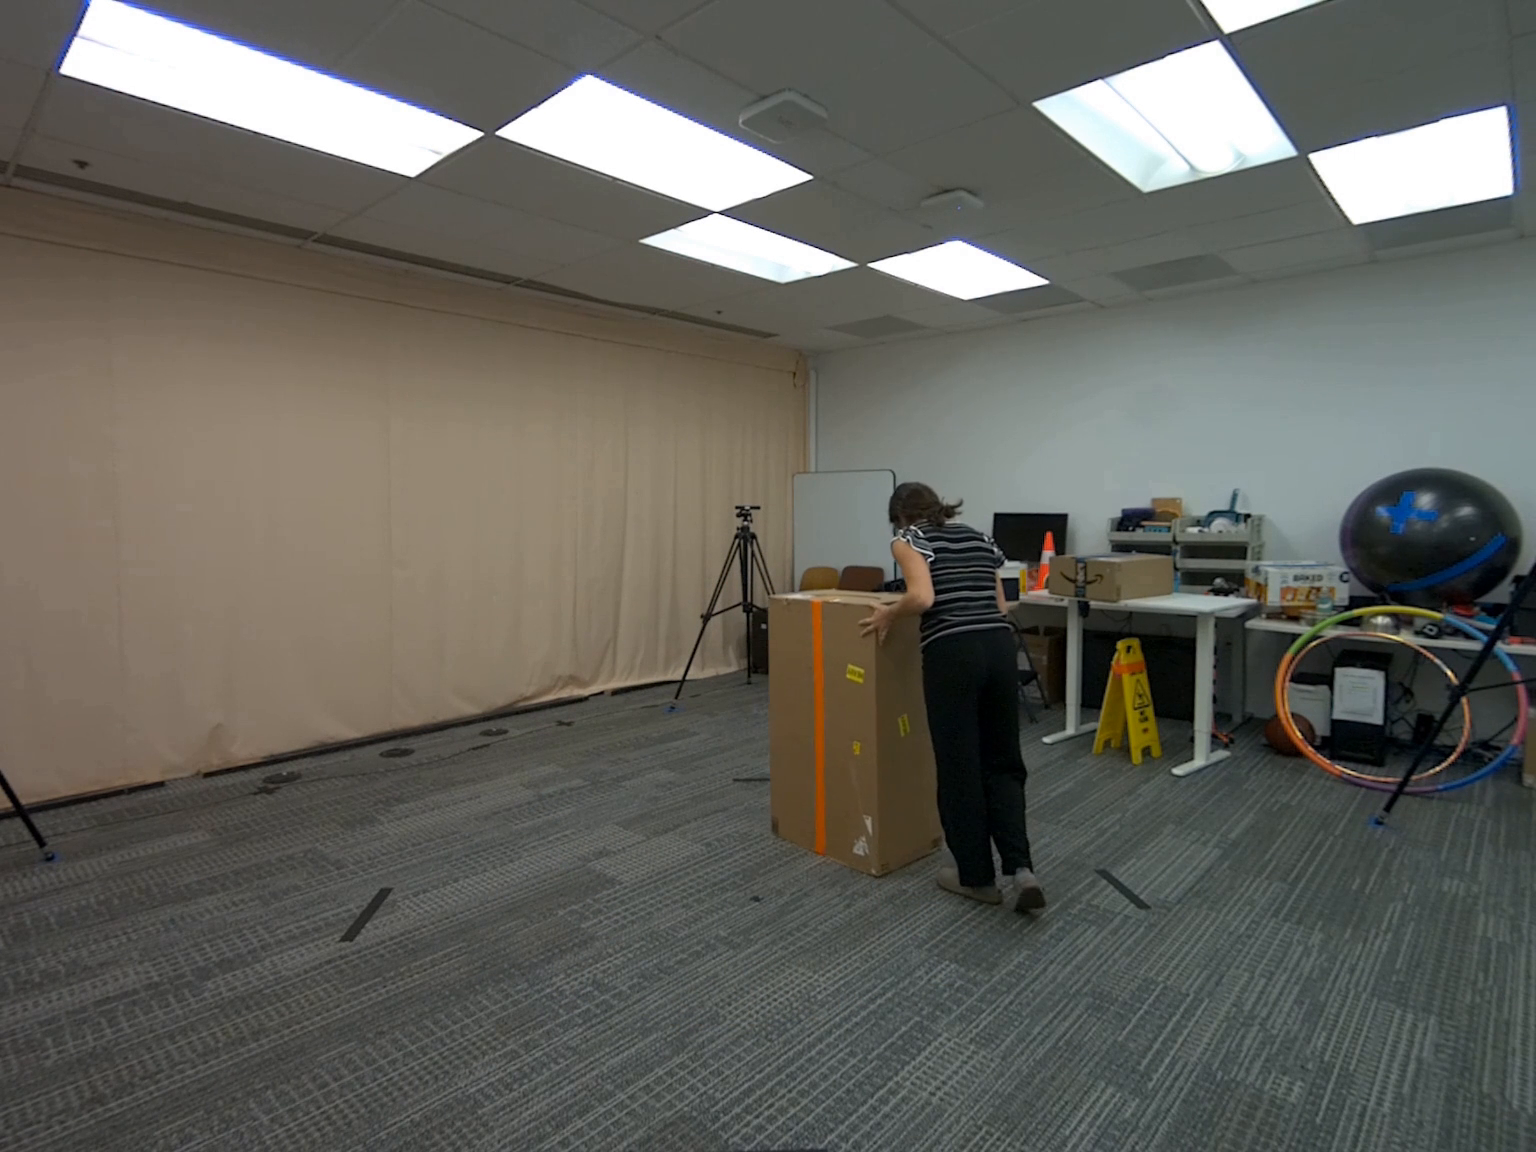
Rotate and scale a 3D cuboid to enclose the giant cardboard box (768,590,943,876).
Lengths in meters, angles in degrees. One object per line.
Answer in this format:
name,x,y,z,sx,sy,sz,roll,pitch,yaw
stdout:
giant cardboard box,0.353,0.594,3.477,0.413,1.024,0.596,-3,4,-42
